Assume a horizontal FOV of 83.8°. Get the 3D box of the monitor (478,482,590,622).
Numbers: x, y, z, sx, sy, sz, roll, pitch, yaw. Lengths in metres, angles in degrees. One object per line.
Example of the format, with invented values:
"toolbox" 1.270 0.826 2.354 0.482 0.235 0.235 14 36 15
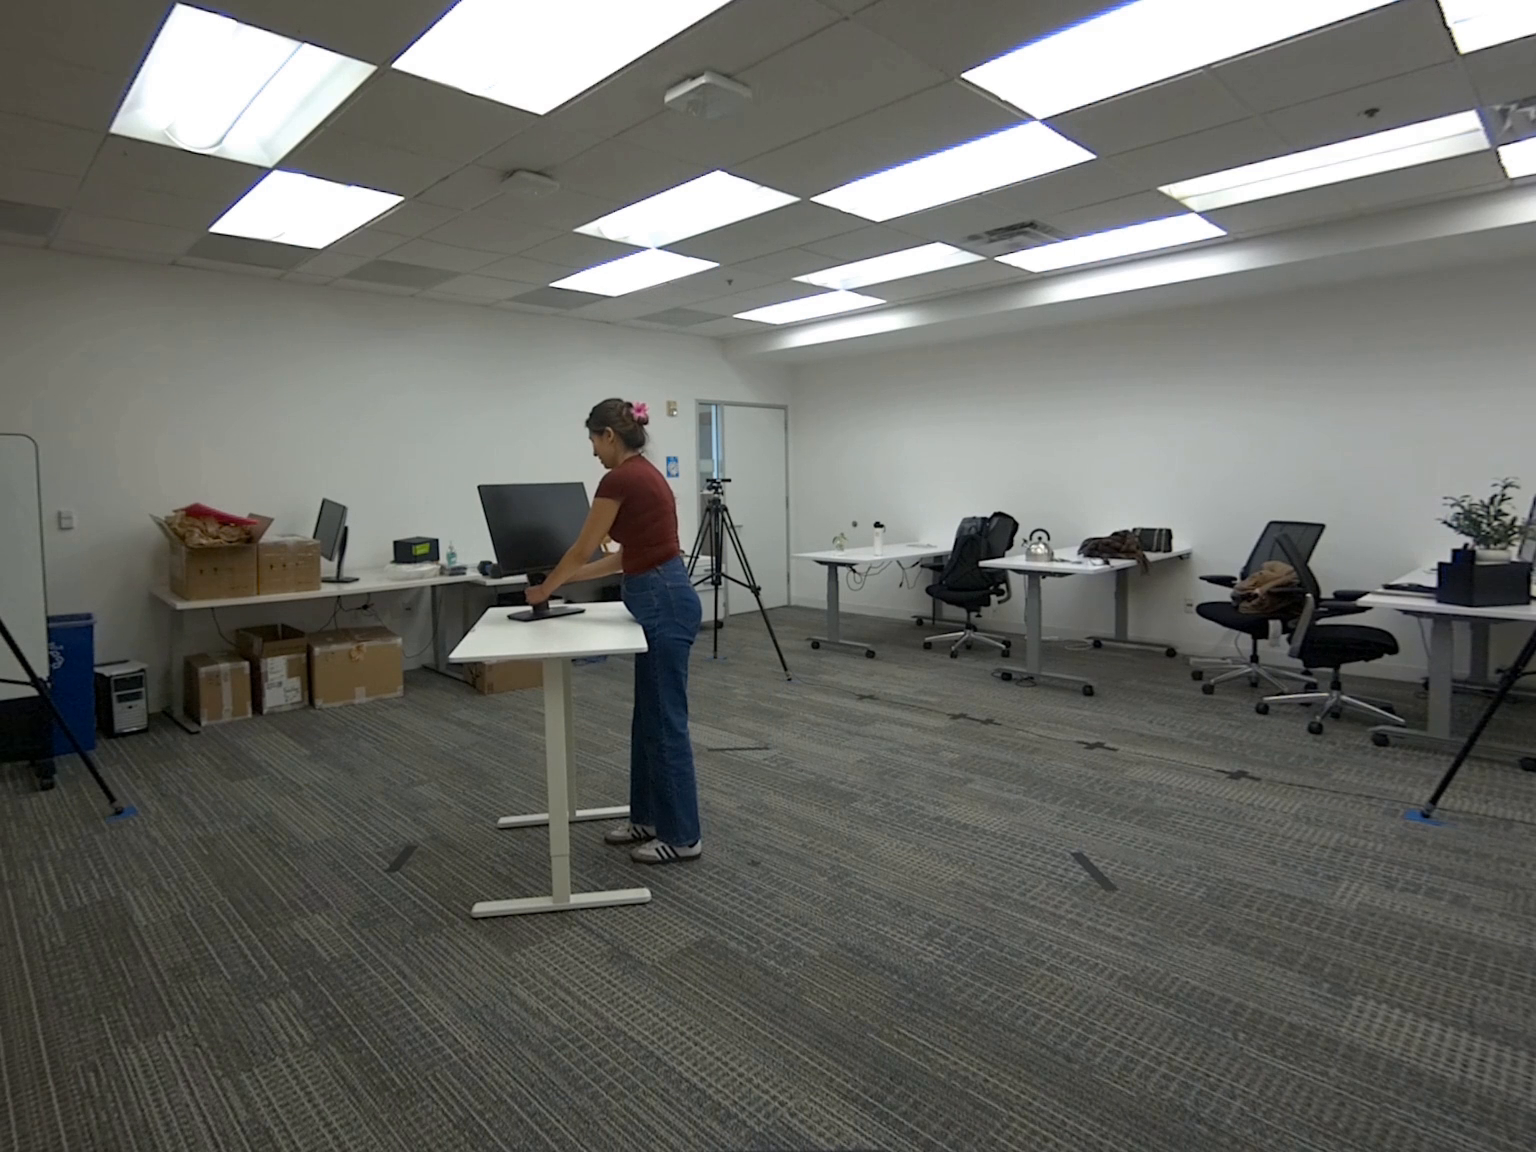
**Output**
"monitor" -0.884 -0.102 3.332 0.192 0.521 0.527 -3 3 32
